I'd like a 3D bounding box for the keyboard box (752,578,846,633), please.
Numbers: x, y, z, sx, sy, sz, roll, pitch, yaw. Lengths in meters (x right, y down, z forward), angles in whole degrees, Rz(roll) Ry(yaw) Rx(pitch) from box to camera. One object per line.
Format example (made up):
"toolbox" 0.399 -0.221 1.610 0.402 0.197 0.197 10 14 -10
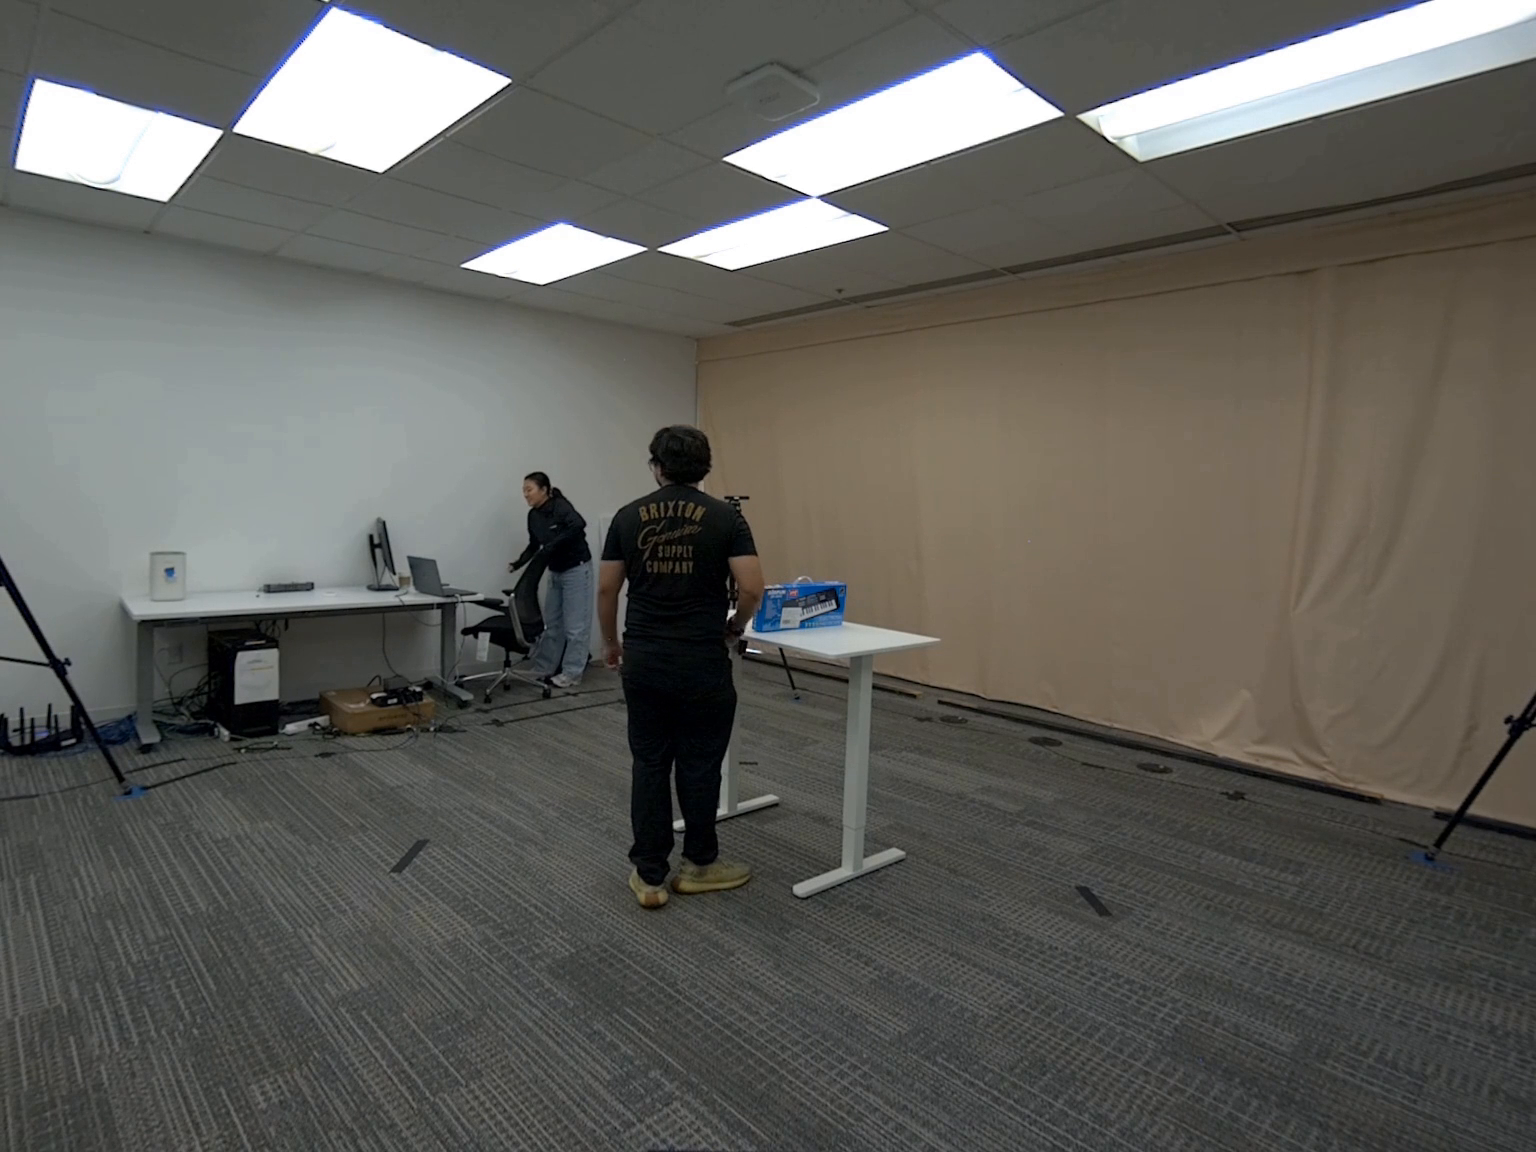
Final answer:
"keyboard box" 0.125 0.122 3.327 0.427 0.175 0.061 -2 12 -39
